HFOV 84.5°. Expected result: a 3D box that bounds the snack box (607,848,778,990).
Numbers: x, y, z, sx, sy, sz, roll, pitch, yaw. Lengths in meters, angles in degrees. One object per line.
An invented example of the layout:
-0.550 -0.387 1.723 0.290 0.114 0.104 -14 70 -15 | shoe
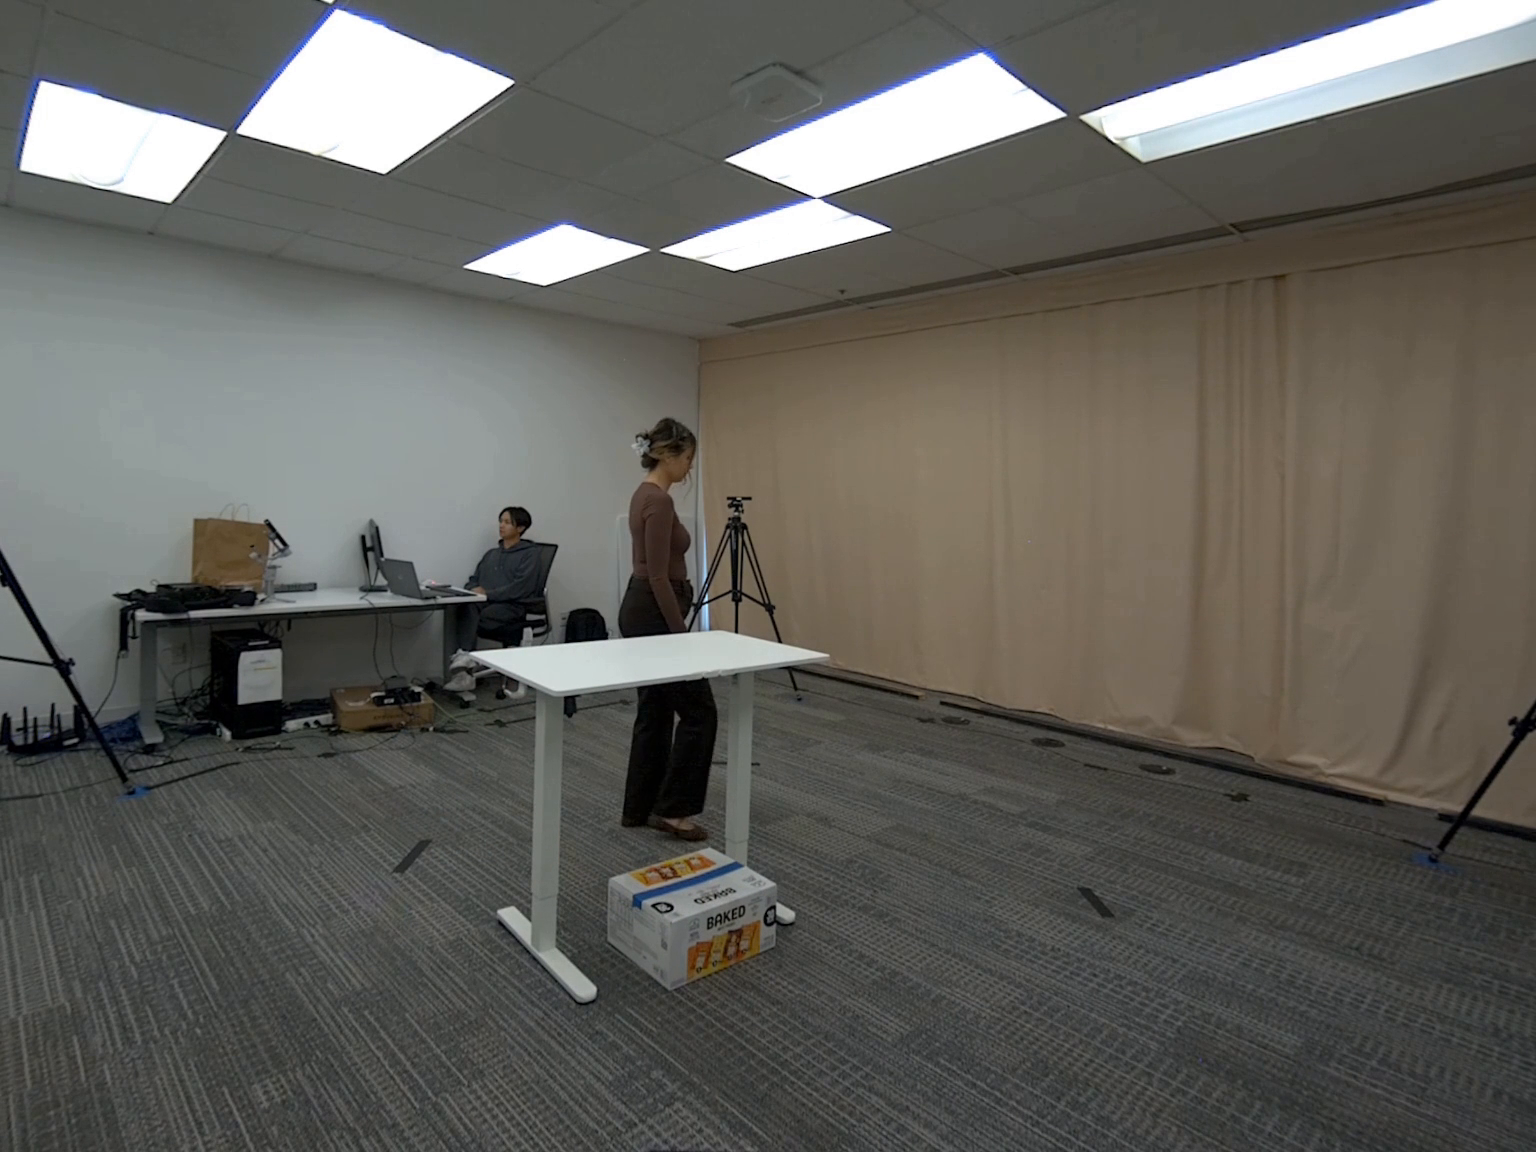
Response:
-0.240 1.049 2.607 0.396 0.205 0.349 -3 6 -41 | snack box
